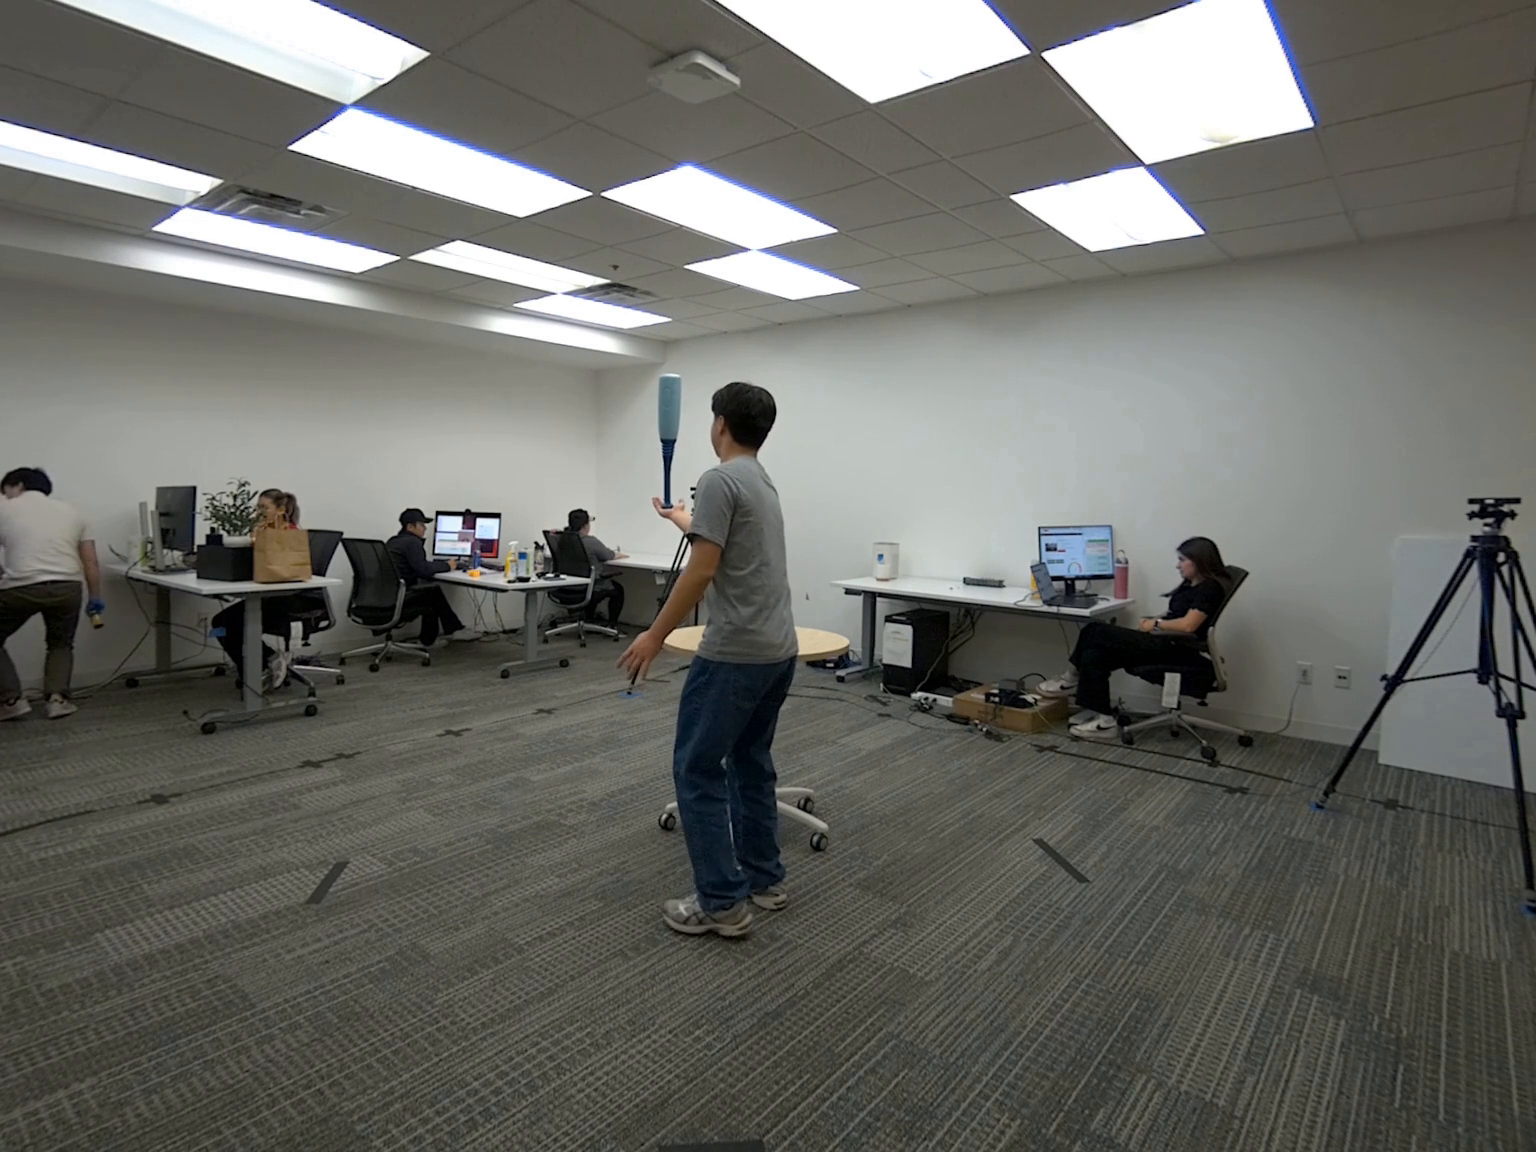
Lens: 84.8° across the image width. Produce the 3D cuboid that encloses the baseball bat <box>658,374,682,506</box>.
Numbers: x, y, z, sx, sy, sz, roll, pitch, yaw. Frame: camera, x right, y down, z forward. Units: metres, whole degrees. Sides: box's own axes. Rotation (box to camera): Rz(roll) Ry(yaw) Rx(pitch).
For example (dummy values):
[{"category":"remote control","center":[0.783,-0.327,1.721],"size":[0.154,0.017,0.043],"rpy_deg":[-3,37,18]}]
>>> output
[{"category":"baseball bat","center":[-0.410,-0.530,3.368],"size":[0.089,0.536,0.090],"rpy_deg":[3,13,-3]}]
